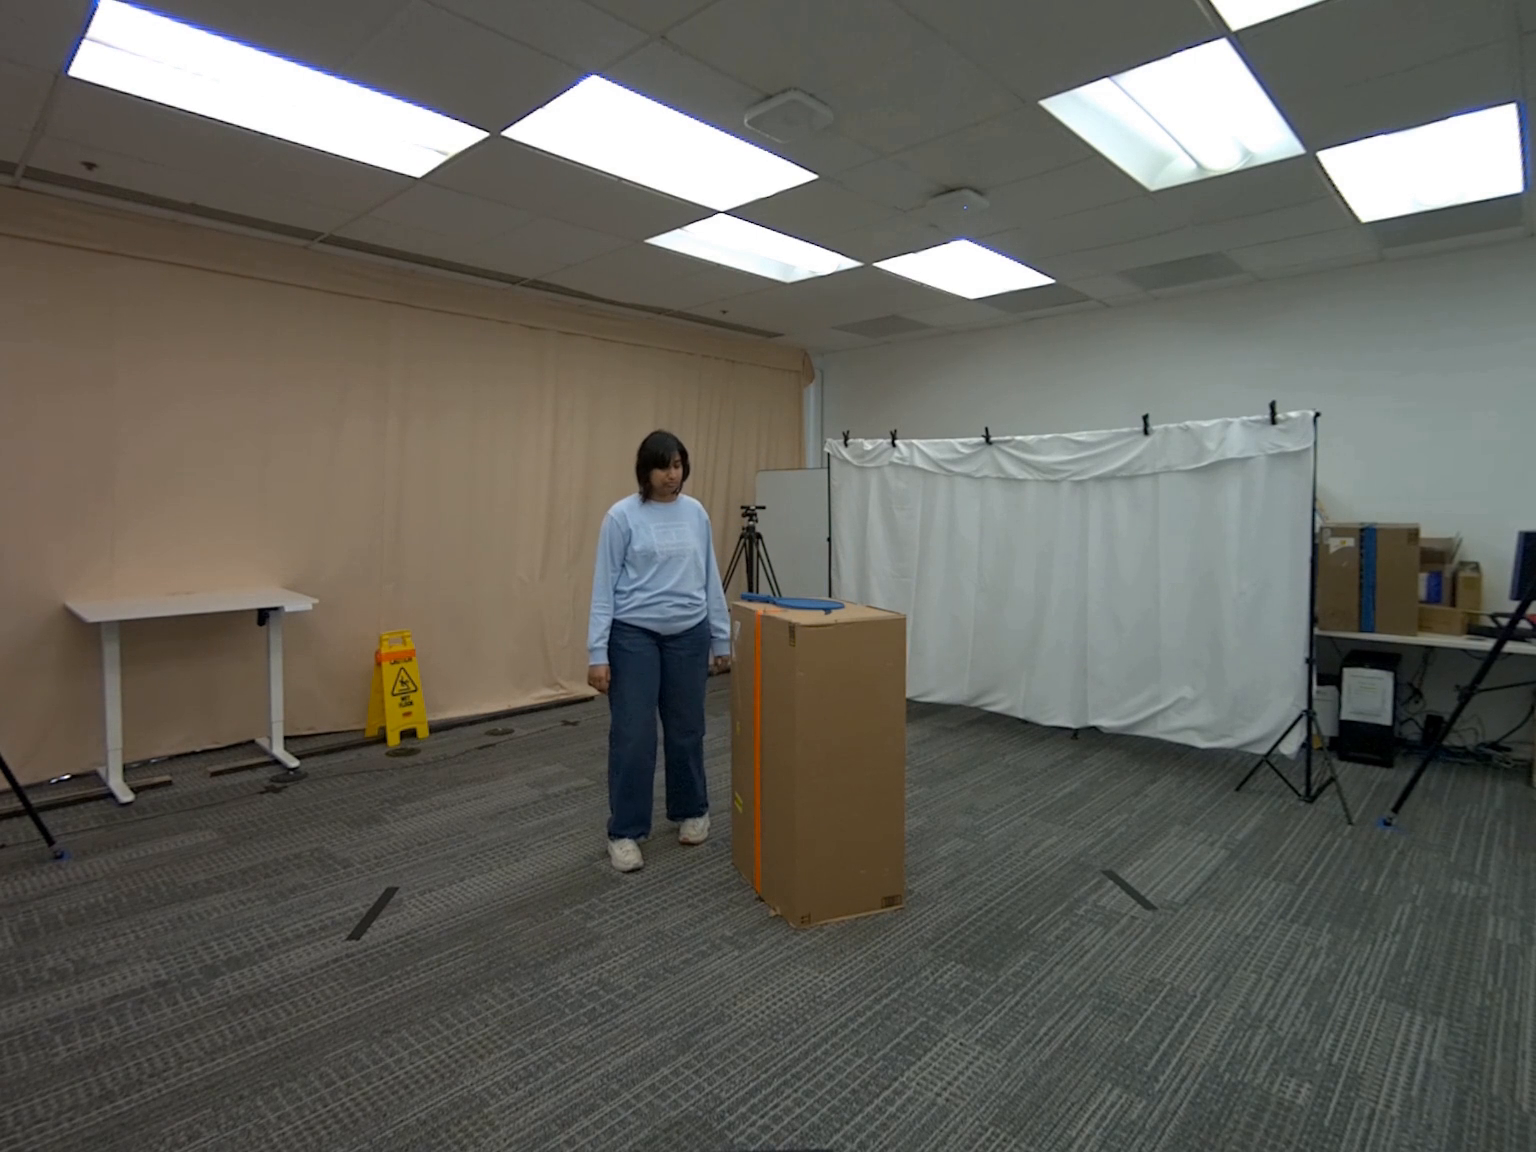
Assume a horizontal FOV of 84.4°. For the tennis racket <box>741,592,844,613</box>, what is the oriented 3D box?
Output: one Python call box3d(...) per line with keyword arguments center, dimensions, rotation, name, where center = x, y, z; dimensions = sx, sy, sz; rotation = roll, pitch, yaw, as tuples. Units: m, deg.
box3d(center=(0.098, 0.098, 3.121), dimensions=(0.446, 0.031, 0.208), rotation=(5, 7, 32), name="tennis racket")
